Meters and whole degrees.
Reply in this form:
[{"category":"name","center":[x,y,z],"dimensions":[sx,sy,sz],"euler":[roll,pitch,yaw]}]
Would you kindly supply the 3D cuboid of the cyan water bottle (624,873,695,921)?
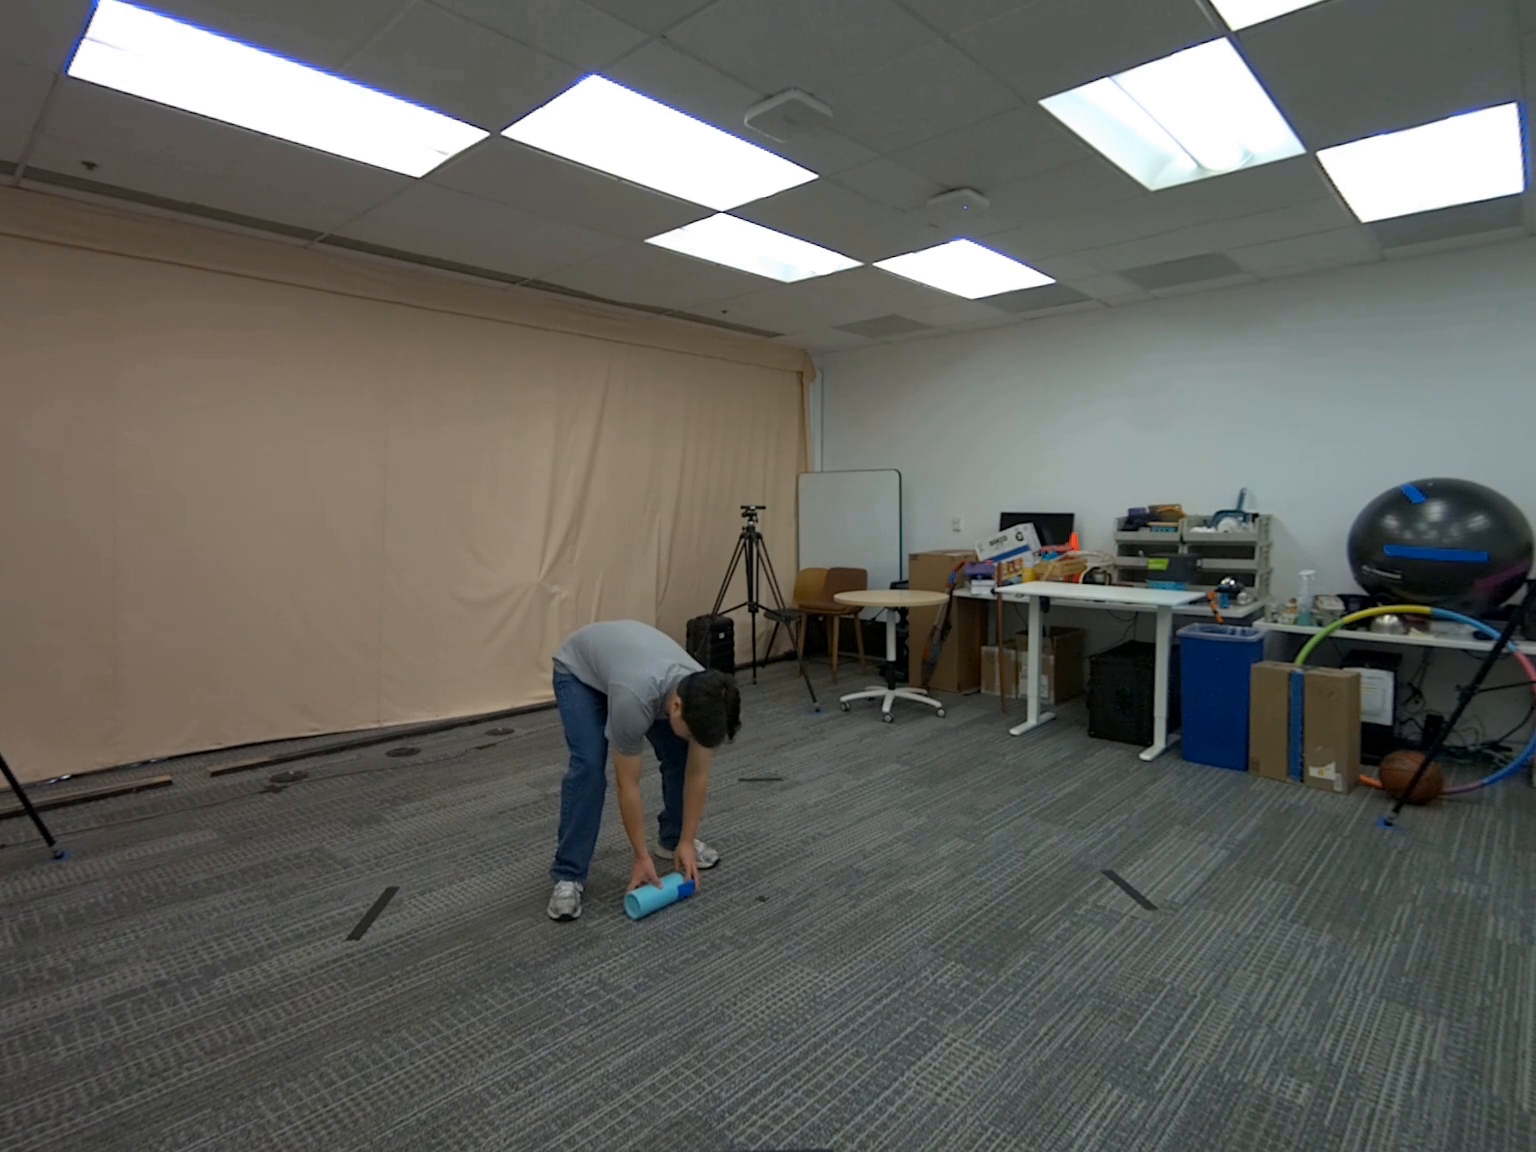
[{"category":"cyan water bottle","center":[-0.364,1.095,2.933],"dimensions":[0.095,0.092,0.275],"euler":[4,5,43]}]
